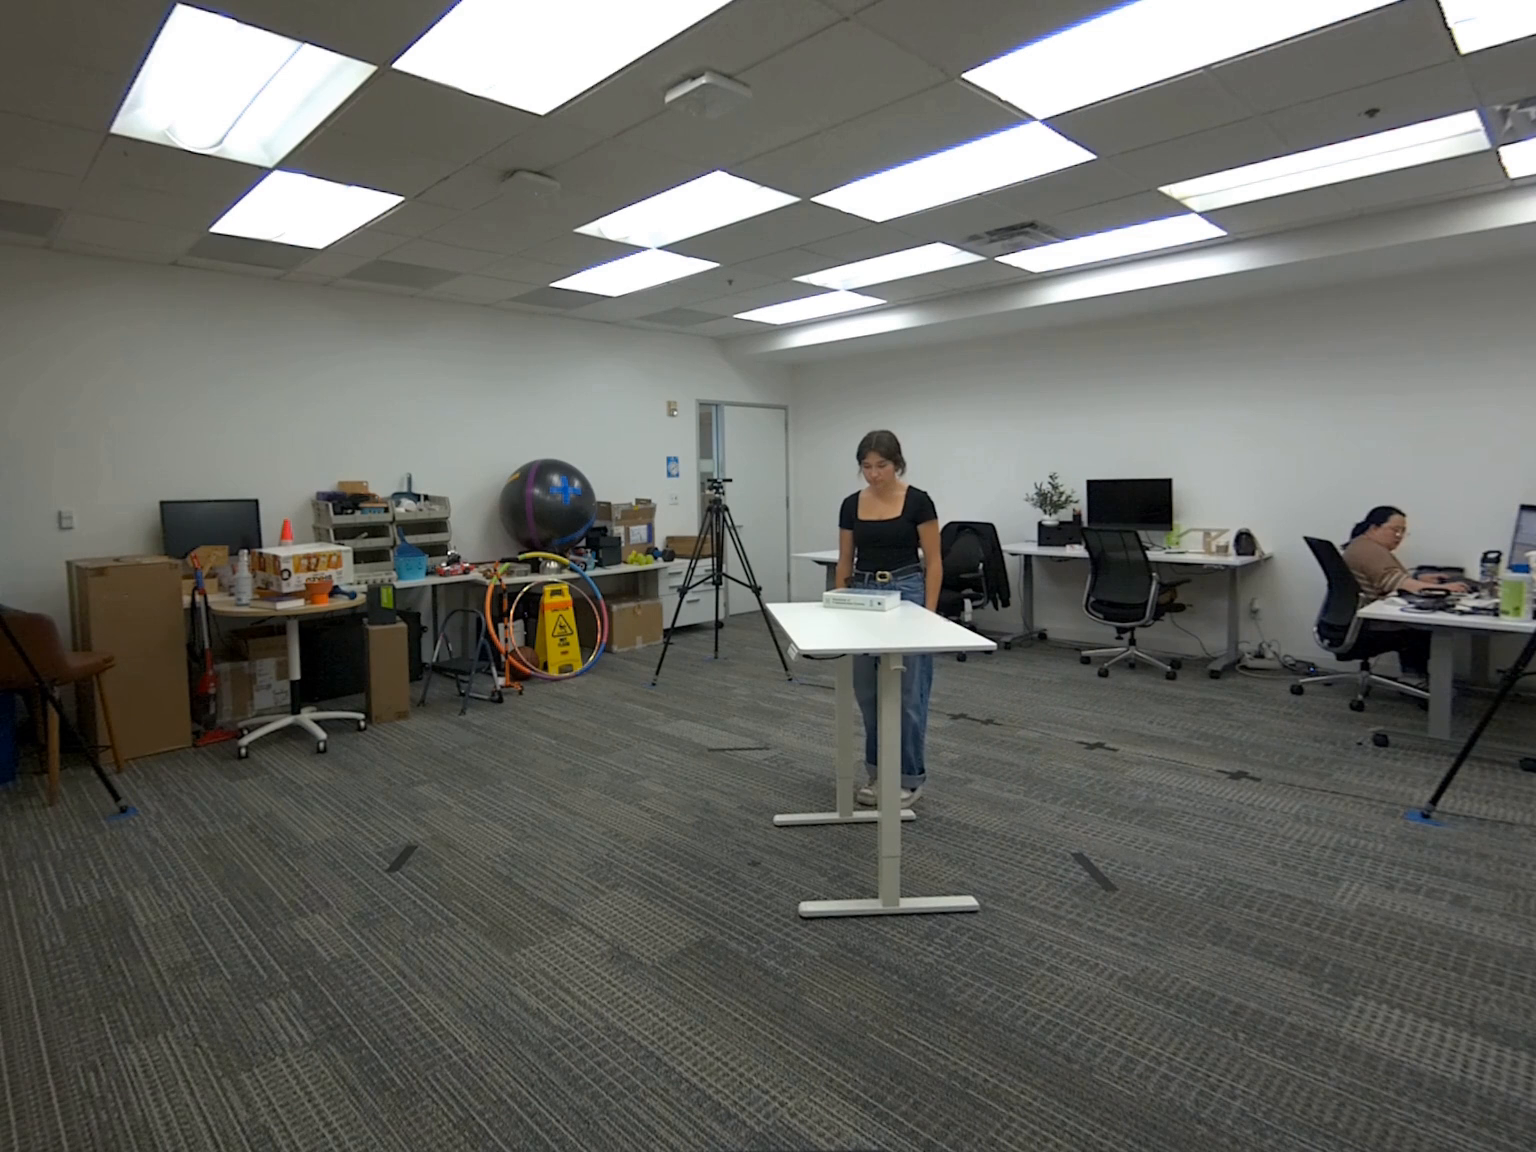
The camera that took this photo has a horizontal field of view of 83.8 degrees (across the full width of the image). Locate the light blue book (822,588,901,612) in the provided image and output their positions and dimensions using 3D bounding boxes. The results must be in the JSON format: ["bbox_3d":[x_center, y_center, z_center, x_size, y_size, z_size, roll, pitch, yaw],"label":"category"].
[{"bbox_3d":[0.384,0.094,3.423,0.268,0.059,0.187,3,6,29],"label":"light blue book"}]
